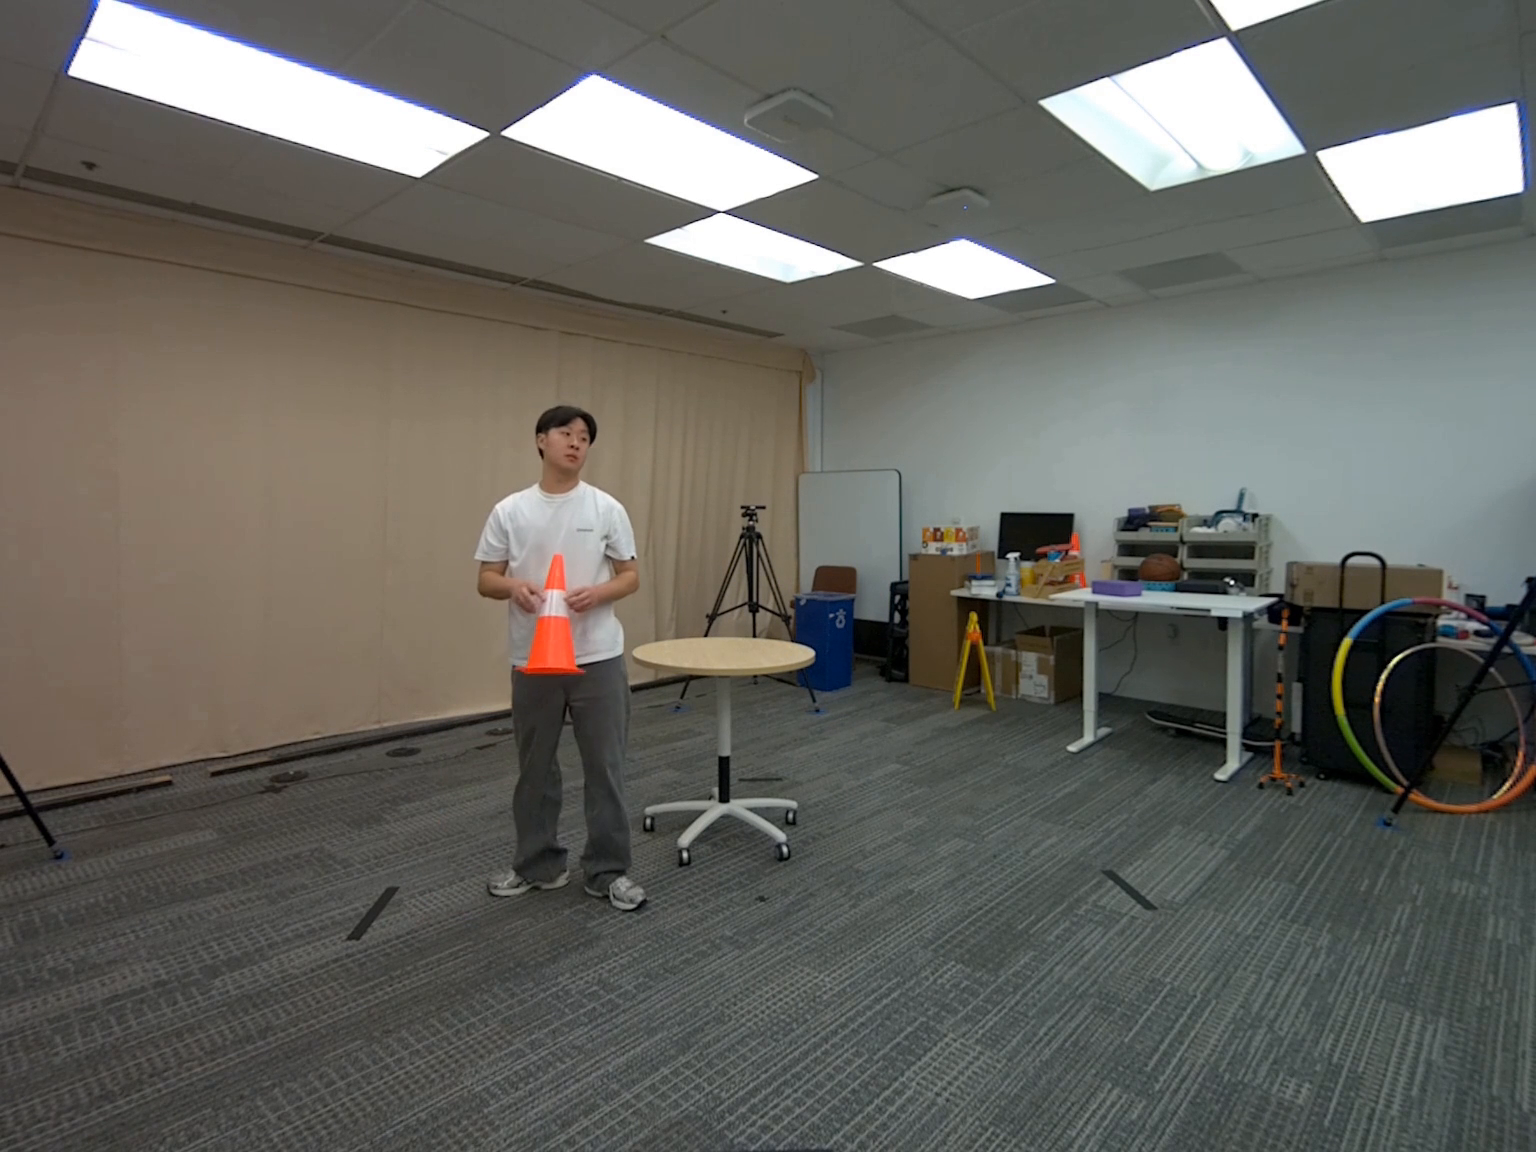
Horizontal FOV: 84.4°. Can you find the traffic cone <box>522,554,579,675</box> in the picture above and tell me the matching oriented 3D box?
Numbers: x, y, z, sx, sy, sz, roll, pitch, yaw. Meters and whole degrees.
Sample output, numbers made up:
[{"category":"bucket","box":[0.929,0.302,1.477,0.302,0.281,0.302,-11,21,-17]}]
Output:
[{"category":"traffic cone","box":[-0.688,0.114,2.722,0.202,0.387,0.204,4,-13,-12]}]
